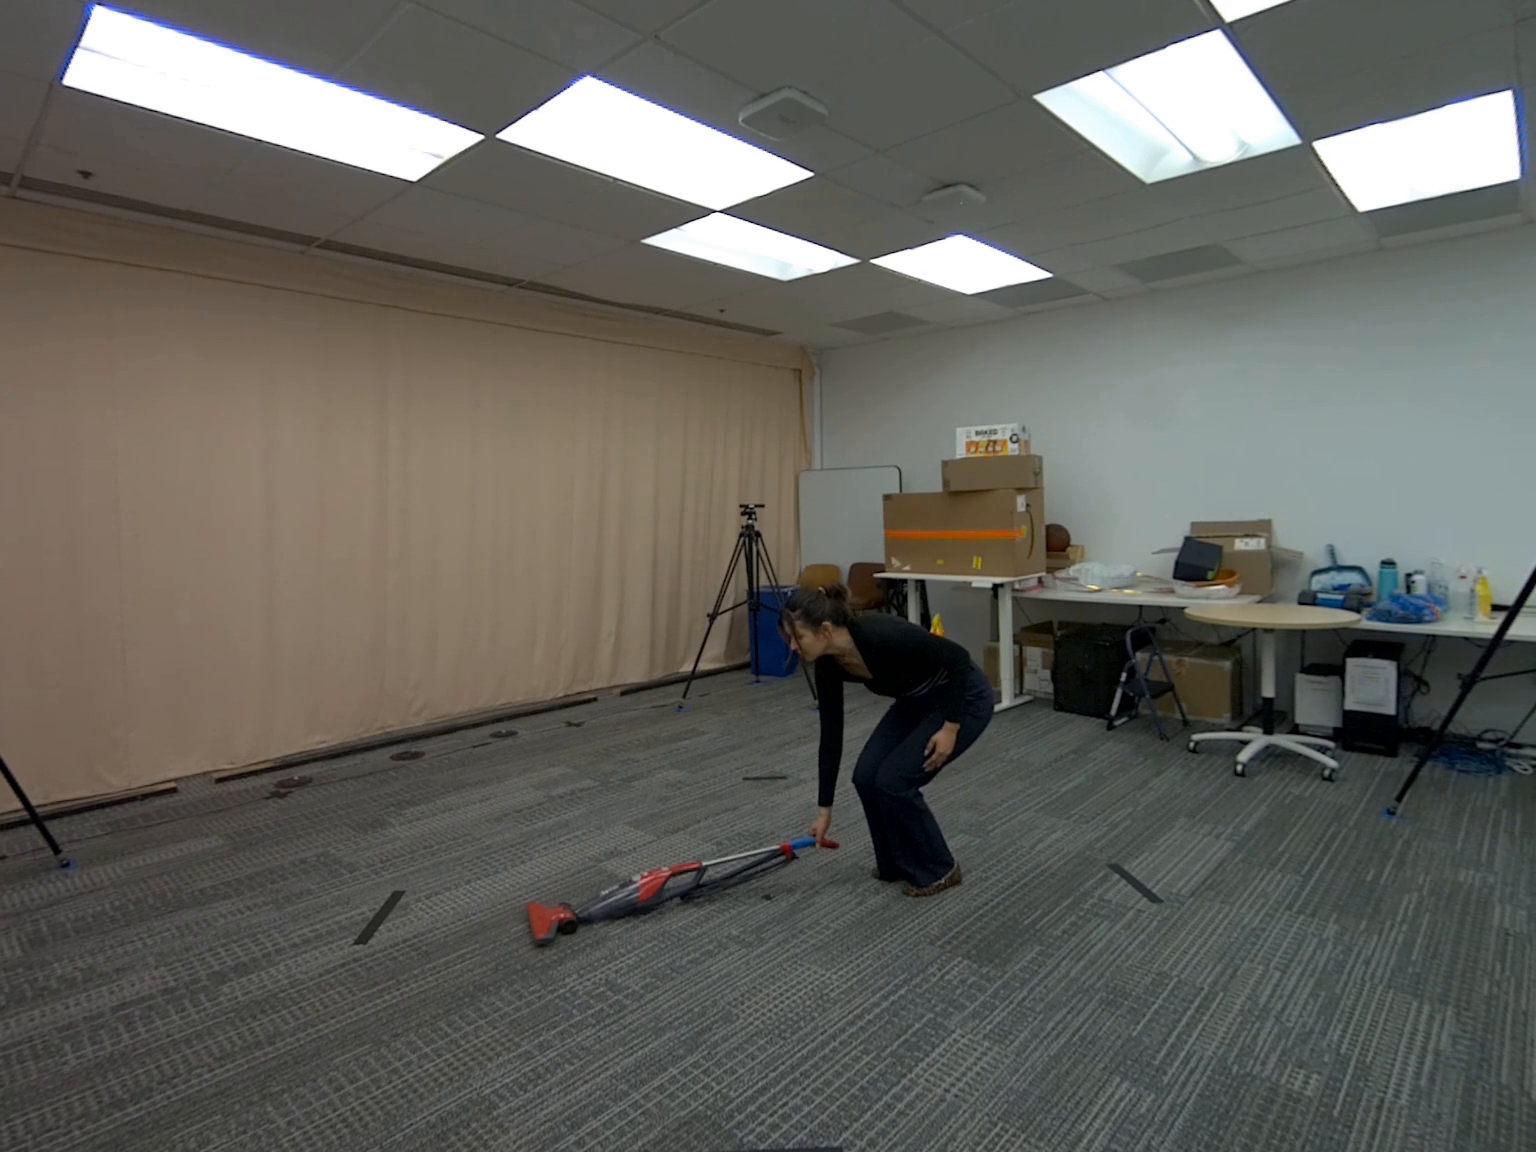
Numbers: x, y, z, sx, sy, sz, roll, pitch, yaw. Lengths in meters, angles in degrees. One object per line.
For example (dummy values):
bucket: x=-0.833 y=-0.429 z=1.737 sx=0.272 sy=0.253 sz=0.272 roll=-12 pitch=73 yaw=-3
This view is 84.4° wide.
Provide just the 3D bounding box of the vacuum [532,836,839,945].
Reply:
vacuum: x=-0.244 y=1.066 z=2.956 sx=1.031 sy=0.143 sz=0.258 roll=-6 pitch=10 yaw=-18
